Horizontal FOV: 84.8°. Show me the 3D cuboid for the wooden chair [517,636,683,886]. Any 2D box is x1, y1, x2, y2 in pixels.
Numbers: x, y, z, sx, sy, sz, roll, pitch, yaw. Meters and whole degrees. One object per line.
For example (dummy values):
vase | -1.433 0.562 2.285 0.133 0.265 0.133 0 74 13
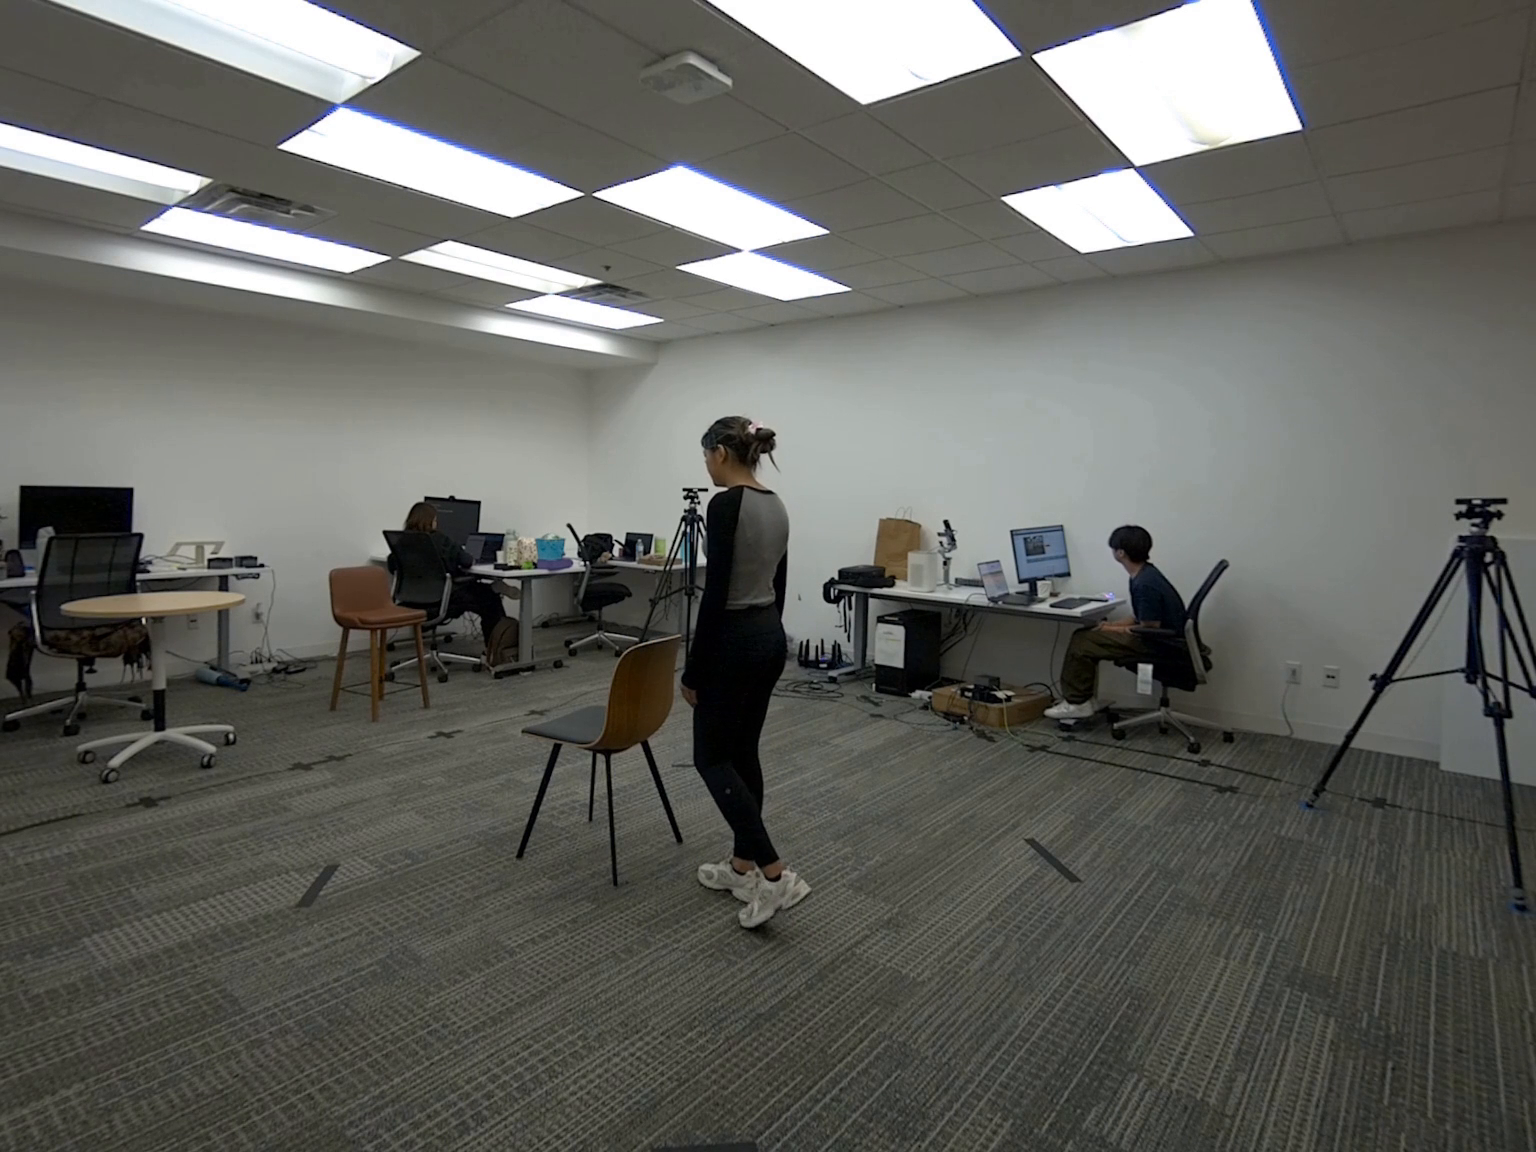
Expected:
wooden chair | -0.649 0.623 3.233 0.538 0.873 0.466 8 6 27
